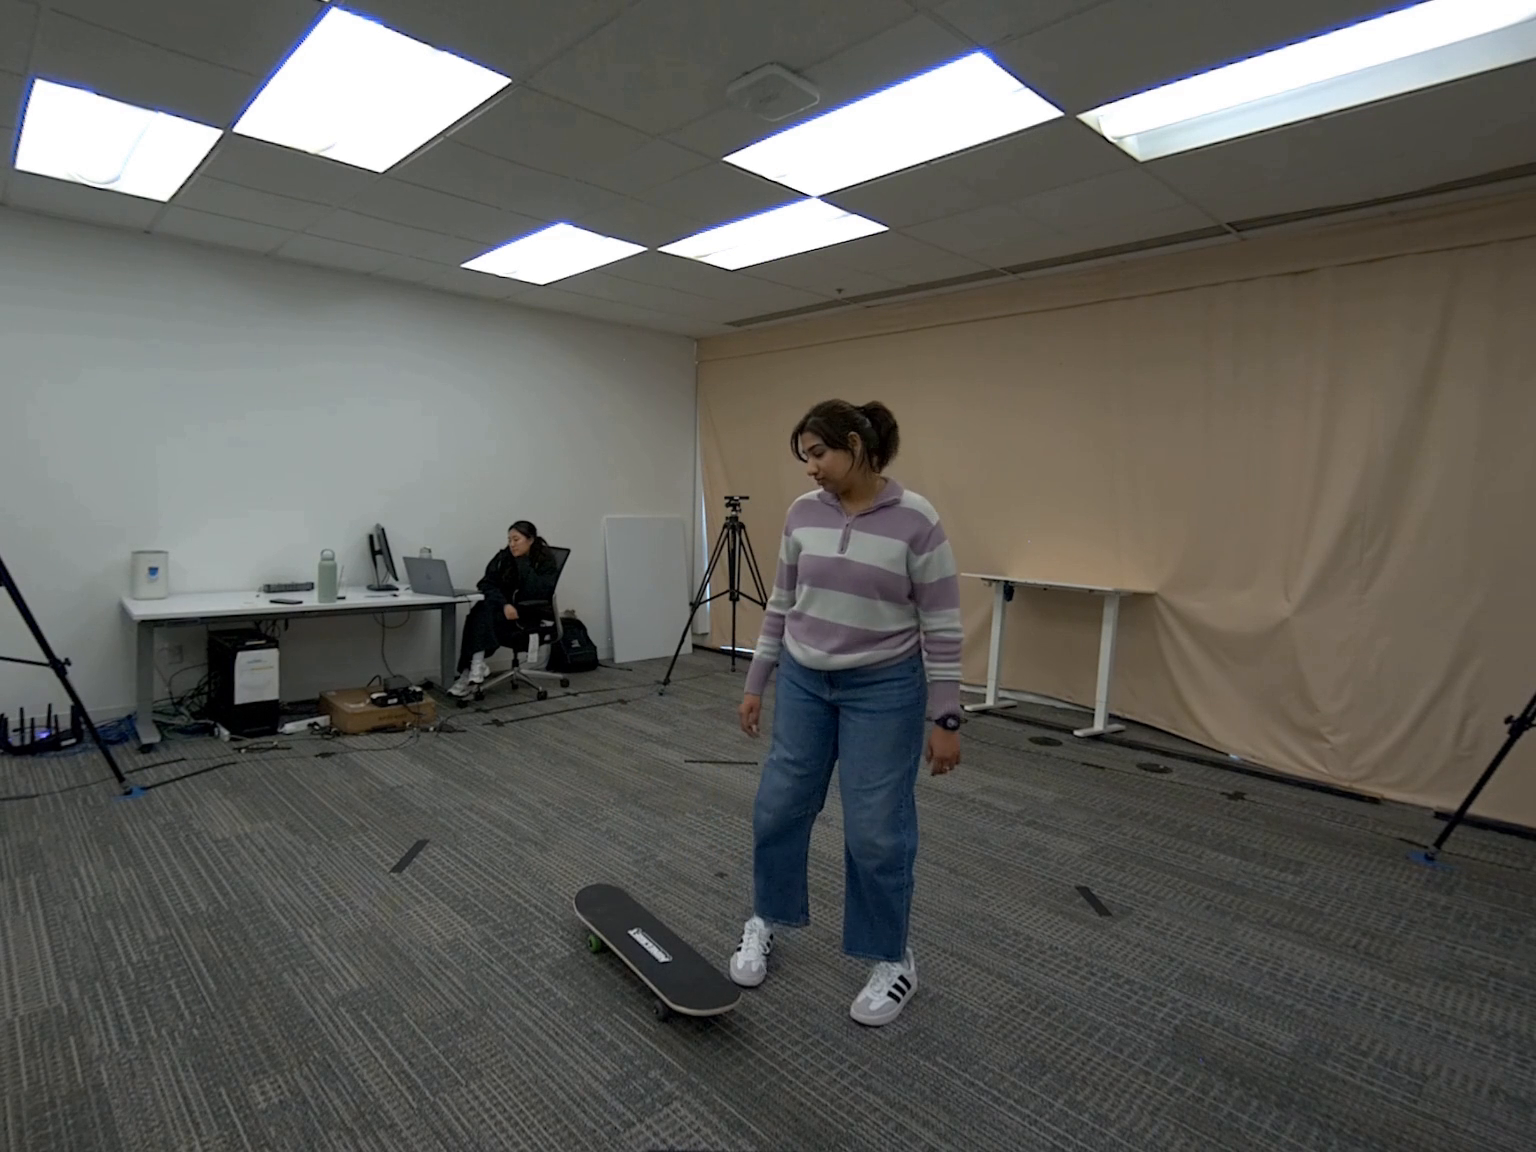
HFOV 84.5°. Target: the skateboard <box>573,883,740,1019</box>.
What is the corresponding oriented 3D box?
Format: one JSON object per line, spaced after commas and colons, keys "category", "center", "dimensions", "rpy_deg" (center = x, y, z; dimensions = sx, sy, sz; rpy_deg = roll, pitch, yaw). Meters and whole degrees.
{"category": "skateboard", "center": [-0.353, 1.104, 2.450], "dimensions": [0.189, 0.110, 0.805], "rpy_deg": [-1, 6, -37]}
